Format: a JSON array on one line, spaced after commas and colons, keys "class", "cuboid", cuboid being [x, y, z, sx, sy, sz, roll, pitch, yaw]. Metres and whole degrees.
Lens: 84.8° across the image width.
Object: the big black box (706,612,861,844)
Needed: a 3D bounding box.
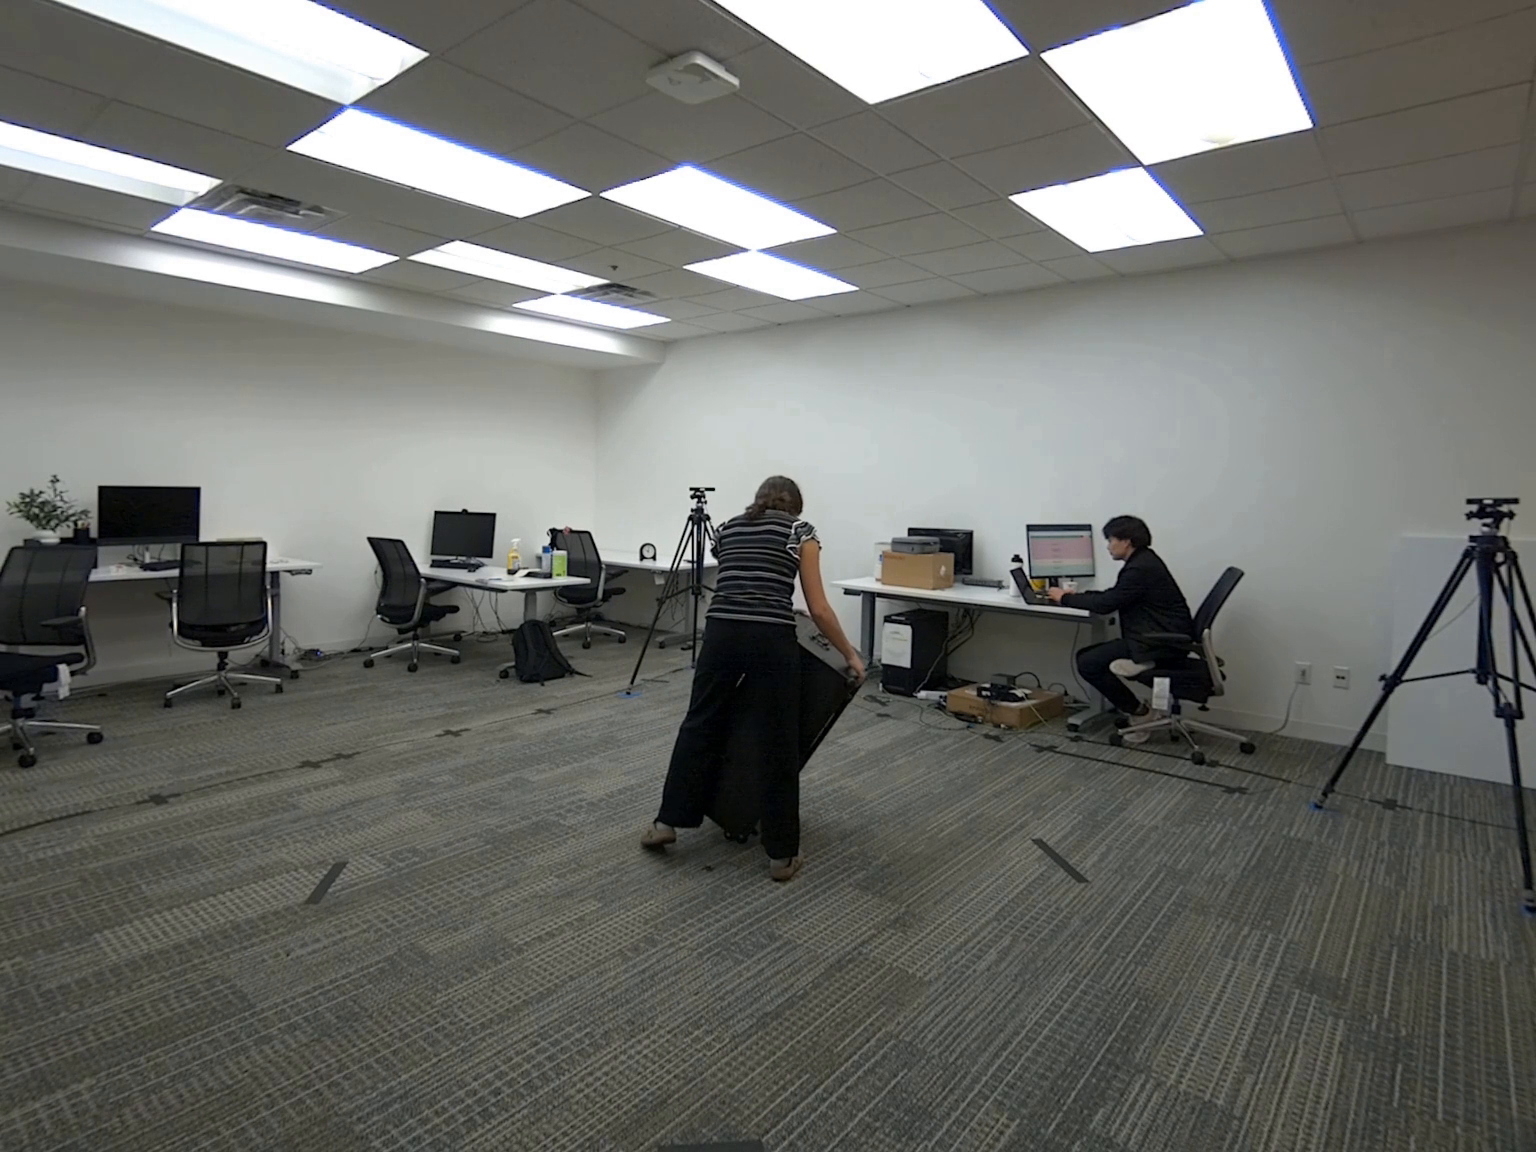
[{"class": "big black box", "cuboid": [0.013, 0.622, 3.457, 0.402, 0.859, 0.516, 36, 12, 8]}]
